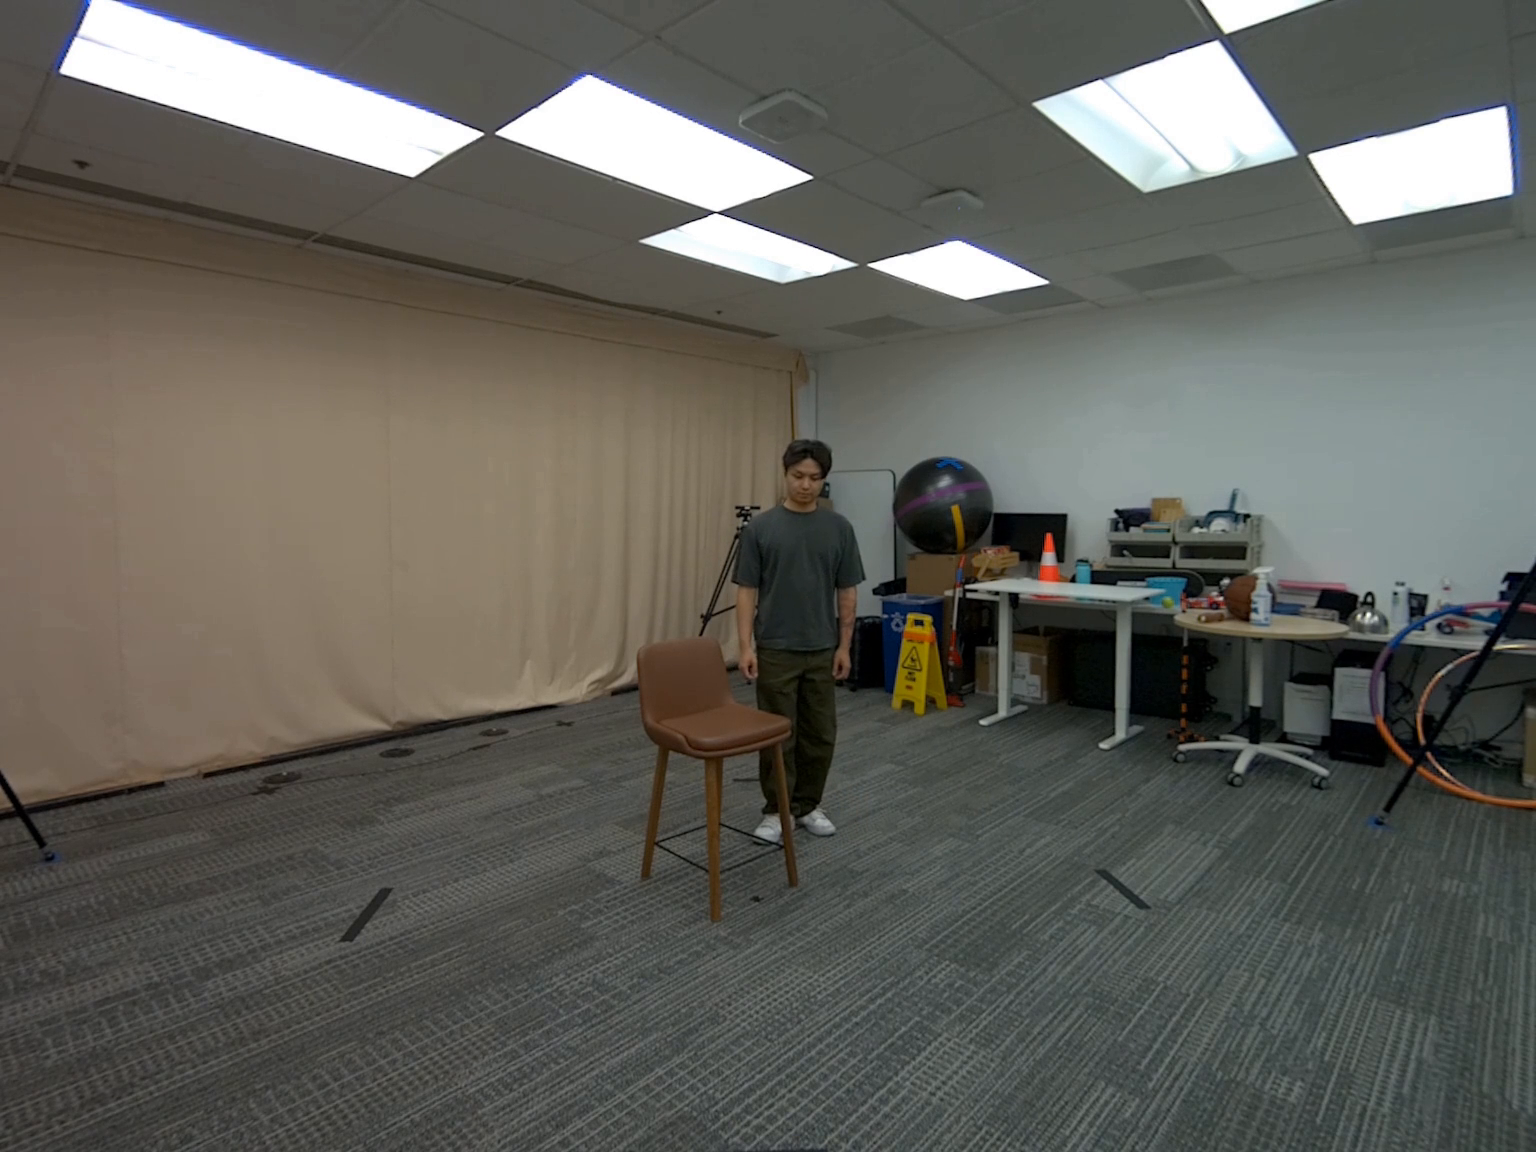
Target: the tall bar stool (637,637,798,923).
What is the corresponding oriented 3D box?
[{"bbox_3d":[-0.196,0.702,3.095,0.442,0.889,0.483,-3,2,-42],"label":"tall bar stool"}]
